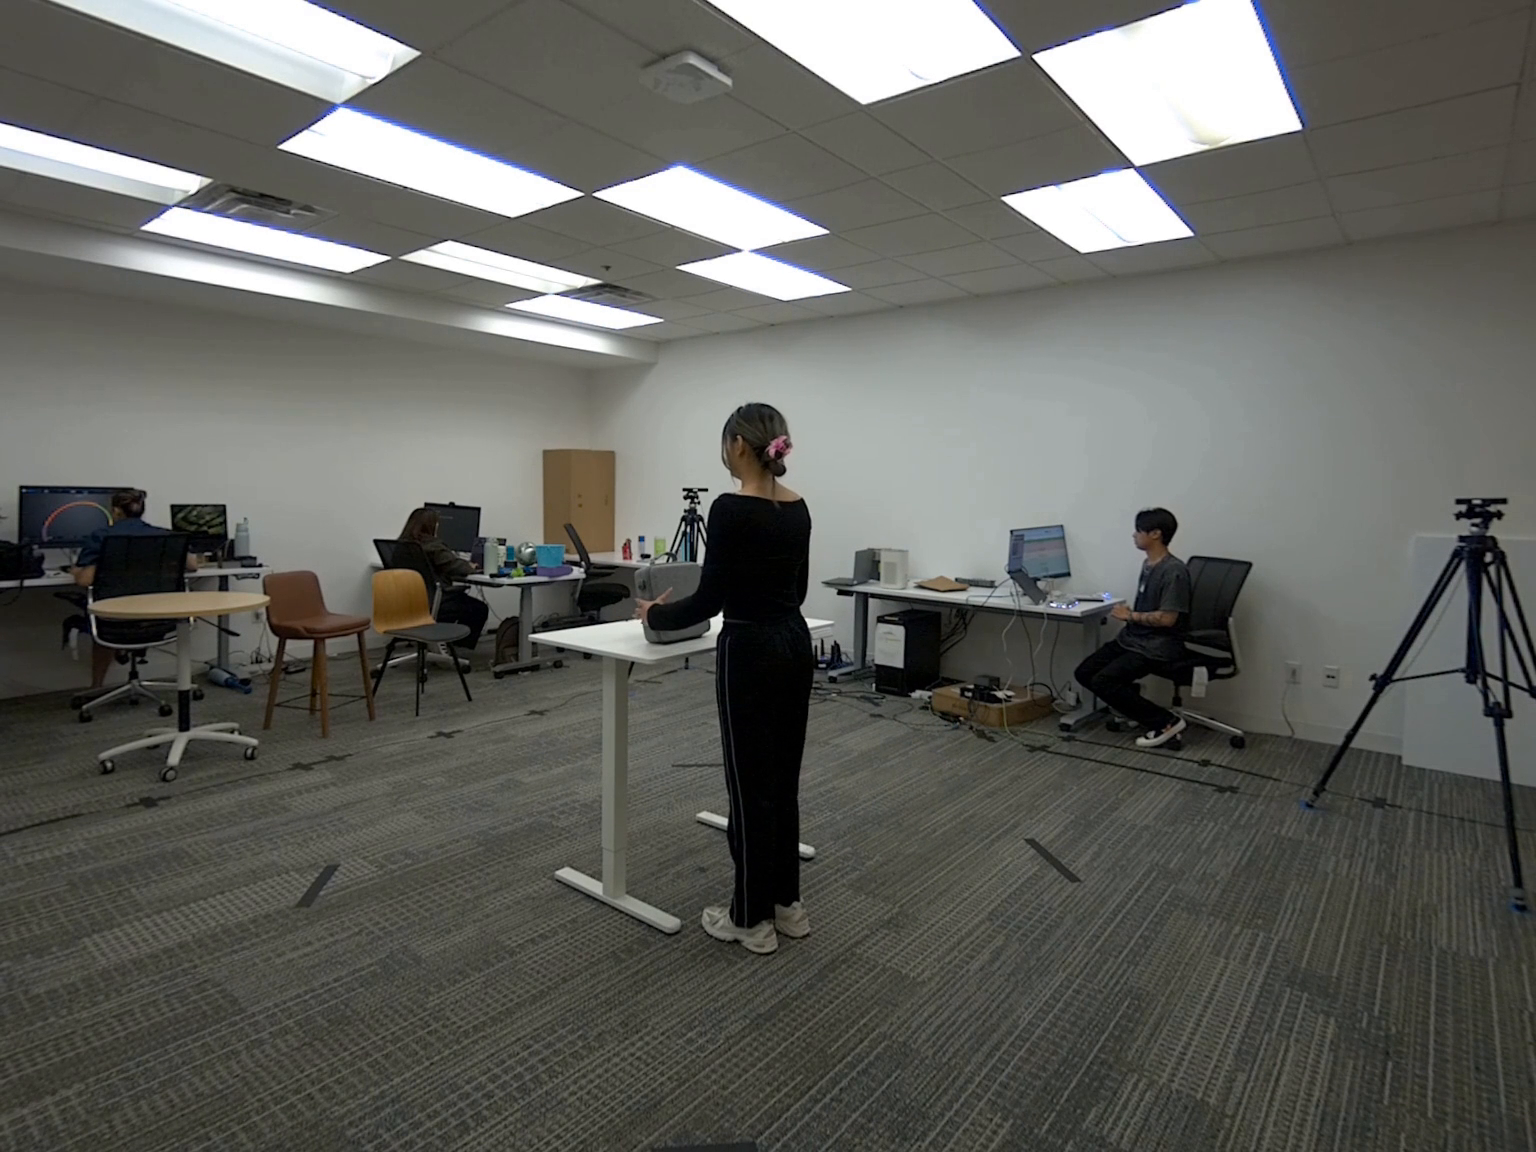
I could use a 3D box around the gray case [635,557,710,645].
[{"bbox_3d":[-0.326,0.080,2.851,0.107,0.262,0.249,-12,-5,40],"label":"gray case"}]
